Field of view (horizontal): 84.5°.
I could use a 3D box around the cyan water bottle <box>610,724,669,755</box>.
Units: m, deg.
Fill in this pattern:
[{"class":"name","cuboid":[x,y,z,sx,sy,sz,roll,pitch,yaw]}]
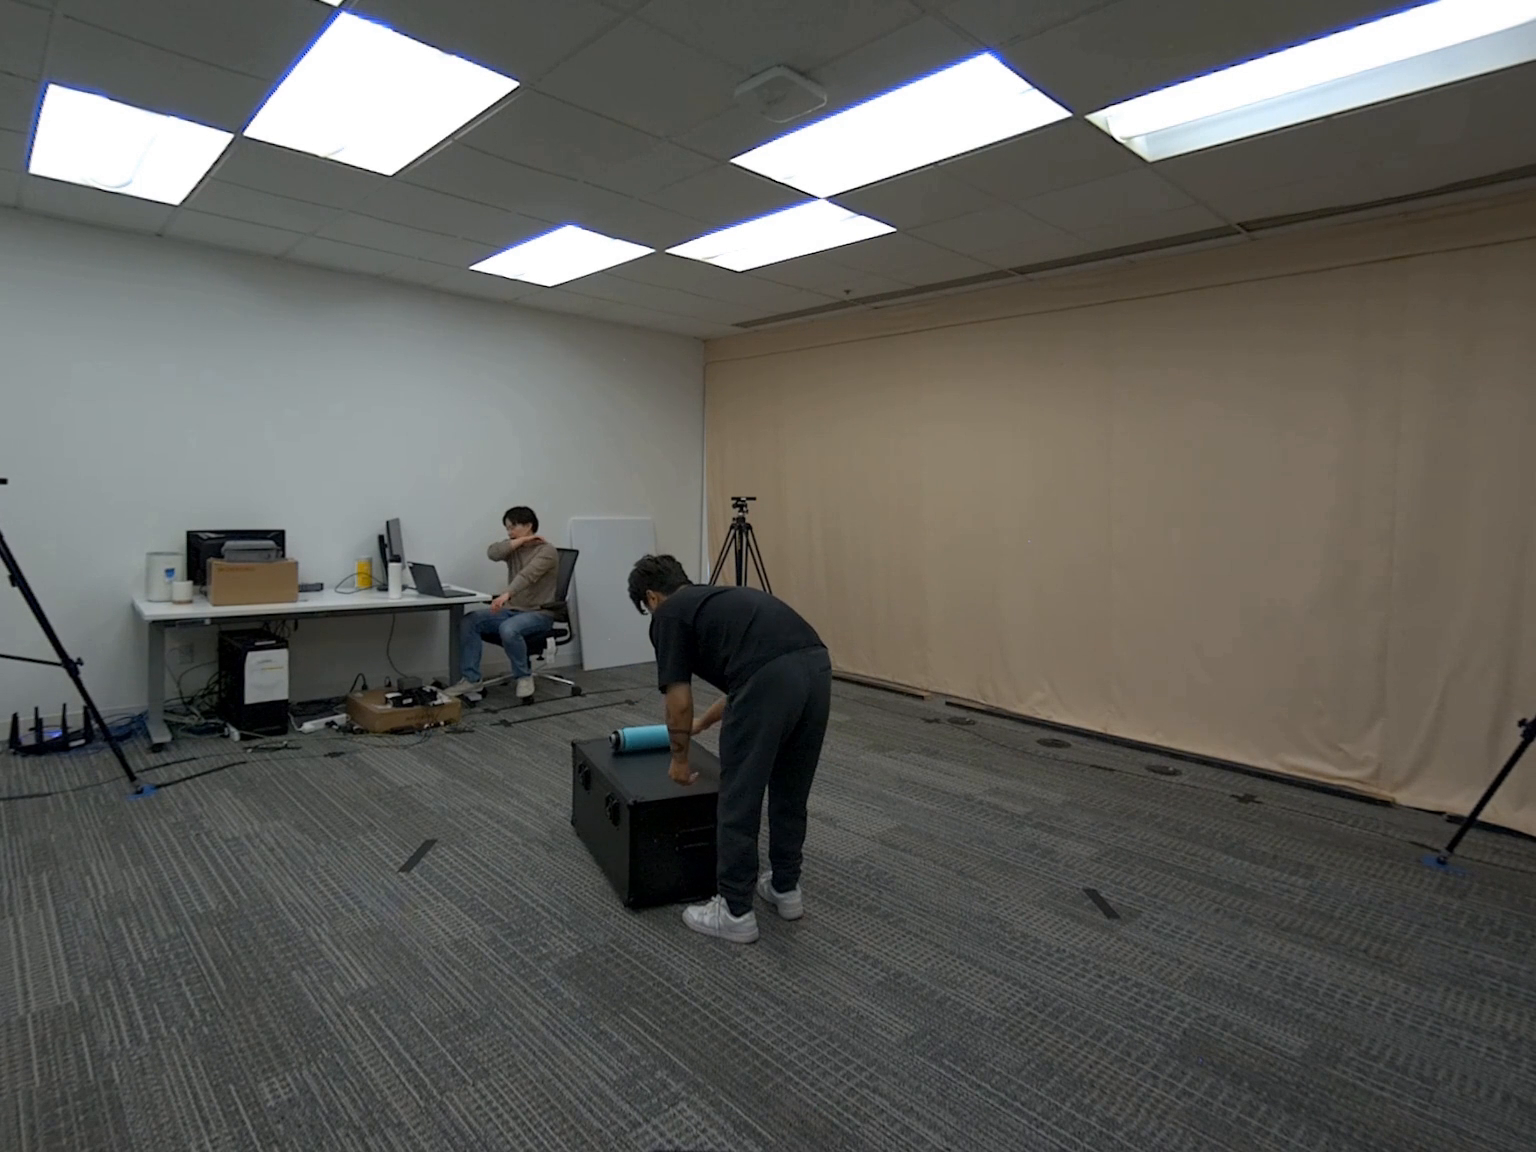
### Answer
[{"class":"cyan water bottle","cuboid":[-0.506,0.648,3.382,0.278,0.092,0.094,0,4,-25]}]
